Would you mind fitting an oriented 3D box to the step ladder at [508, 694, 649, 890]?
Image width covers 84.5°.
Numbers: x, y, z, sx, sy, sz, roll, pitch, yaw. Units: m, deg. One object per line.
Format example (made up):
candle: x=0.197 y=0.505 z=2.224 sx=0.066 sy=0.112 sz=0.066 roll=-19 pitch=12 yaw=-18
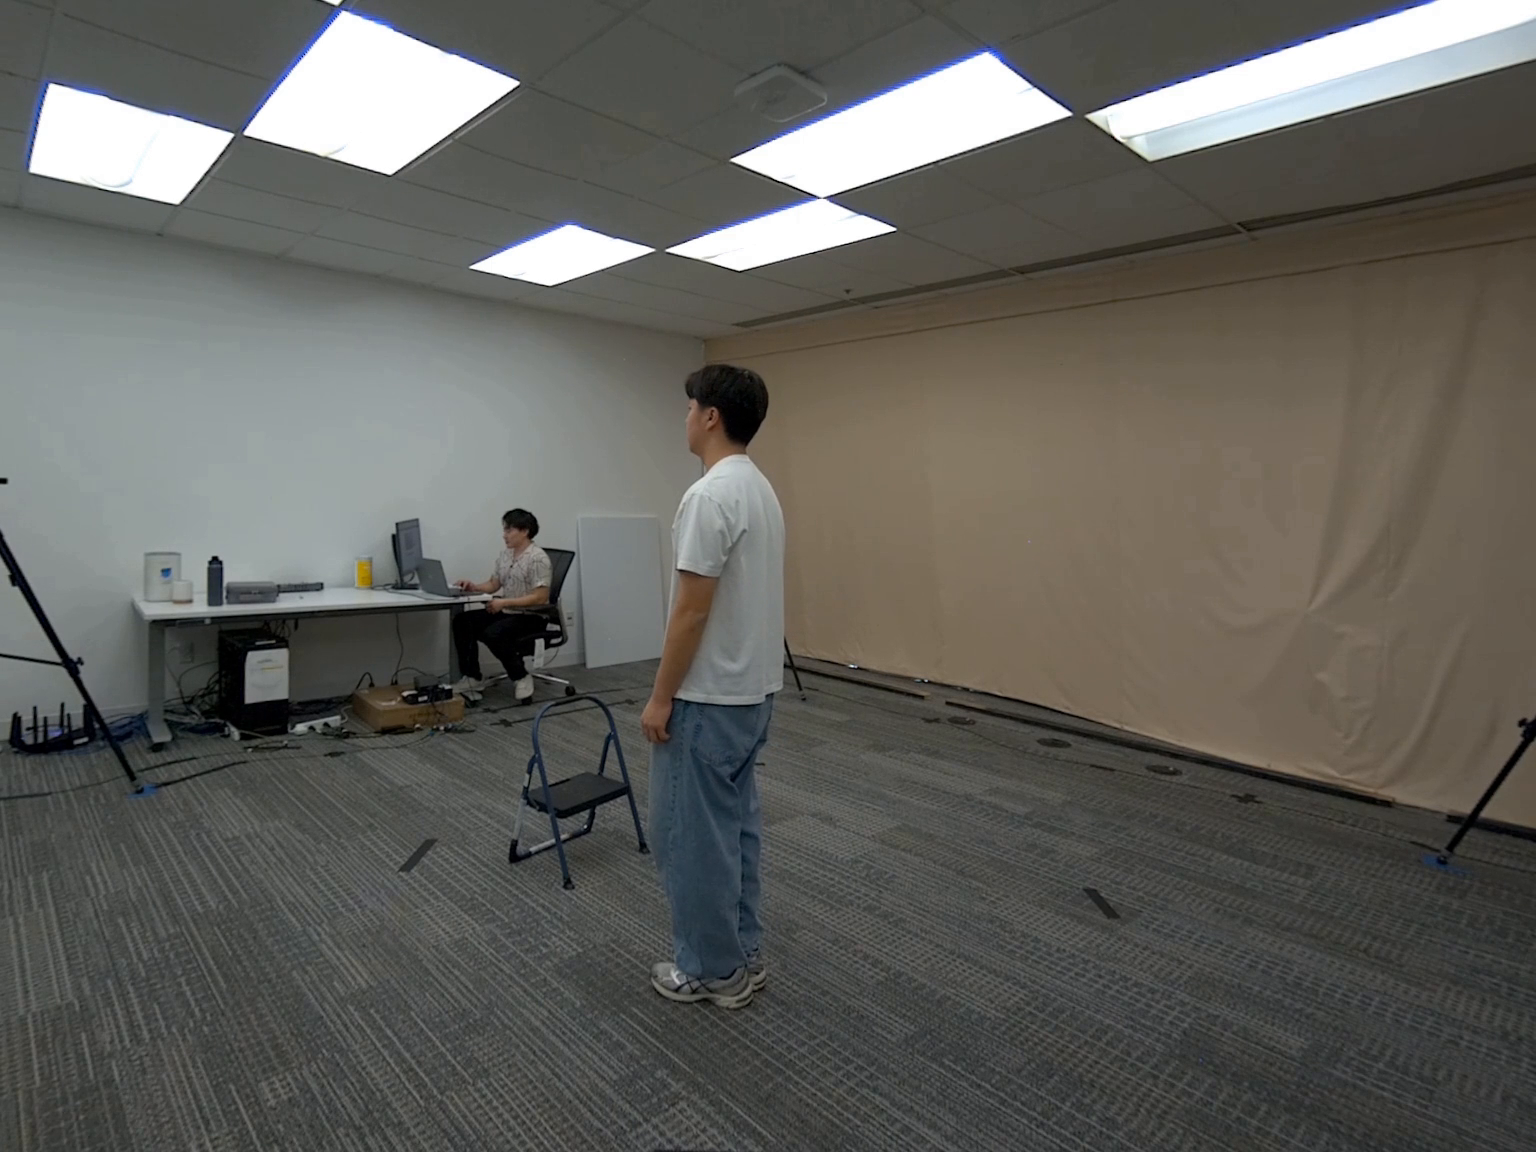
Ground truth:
step ladder: x=-0.724 y=0.780 z=3.221 sx=0.357 sy=0.604 sz=0.421 roll=4 pitch=4 yaw=34
